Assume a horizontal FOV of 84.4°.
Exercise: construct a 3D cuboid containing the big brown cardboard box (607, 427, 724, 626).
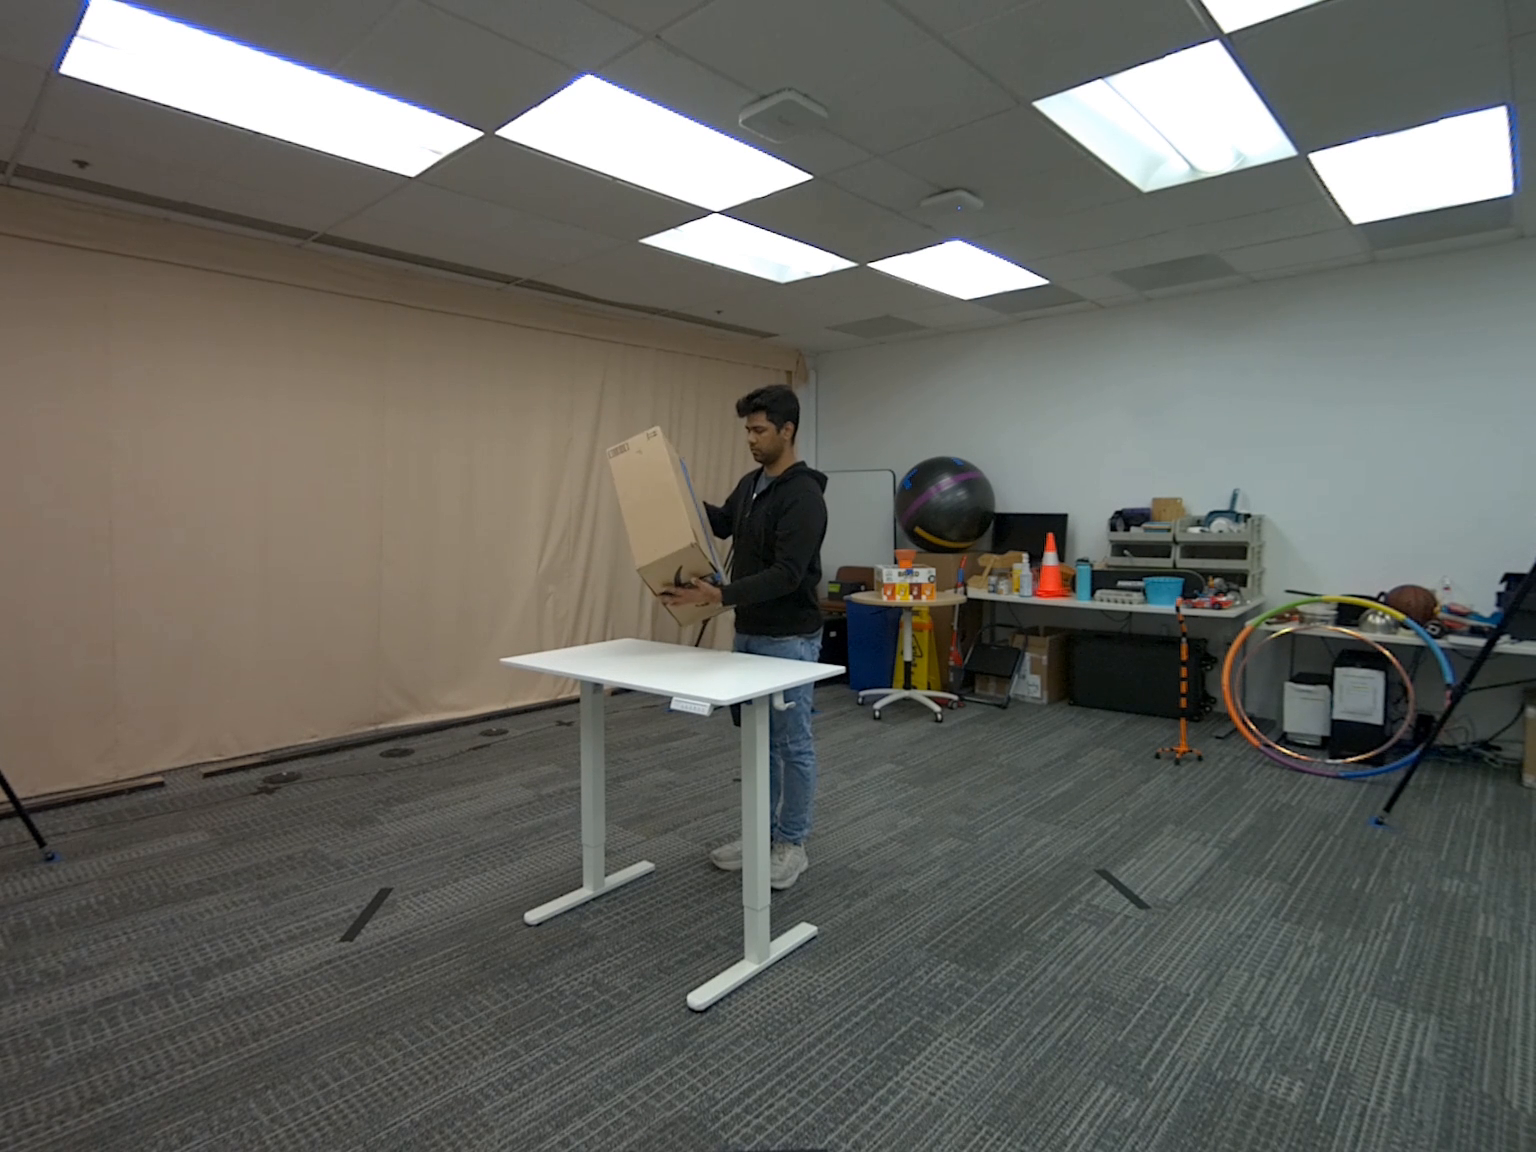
[{"bbox_3d":[-0.343,-0.165,3.002,0.234,0.605,0.404,-25,-37,4],"label":"big brown cardboard box"}]
